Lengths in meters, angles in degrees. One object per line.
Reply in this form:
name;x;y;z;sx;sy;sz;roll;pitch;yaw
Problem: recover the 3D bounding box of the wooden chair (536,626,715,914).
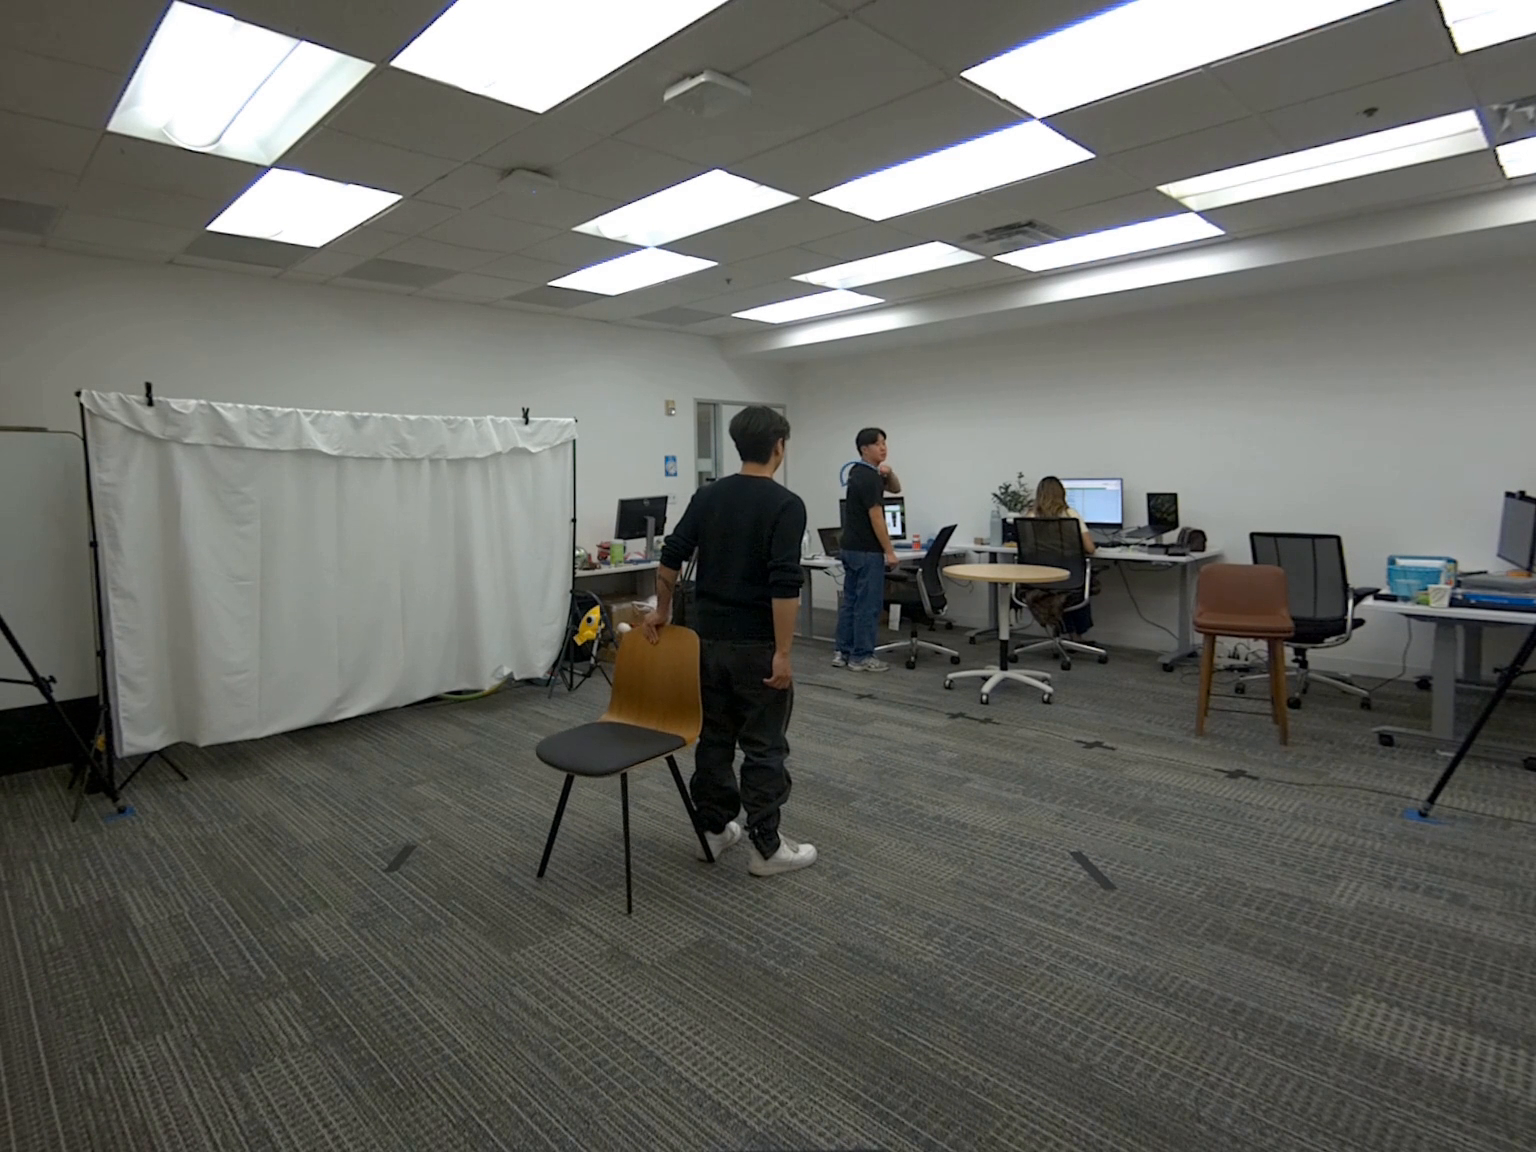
wooden chair;-0.517;0.632;3.020;0.492;0.877;0.508;2;0;36
